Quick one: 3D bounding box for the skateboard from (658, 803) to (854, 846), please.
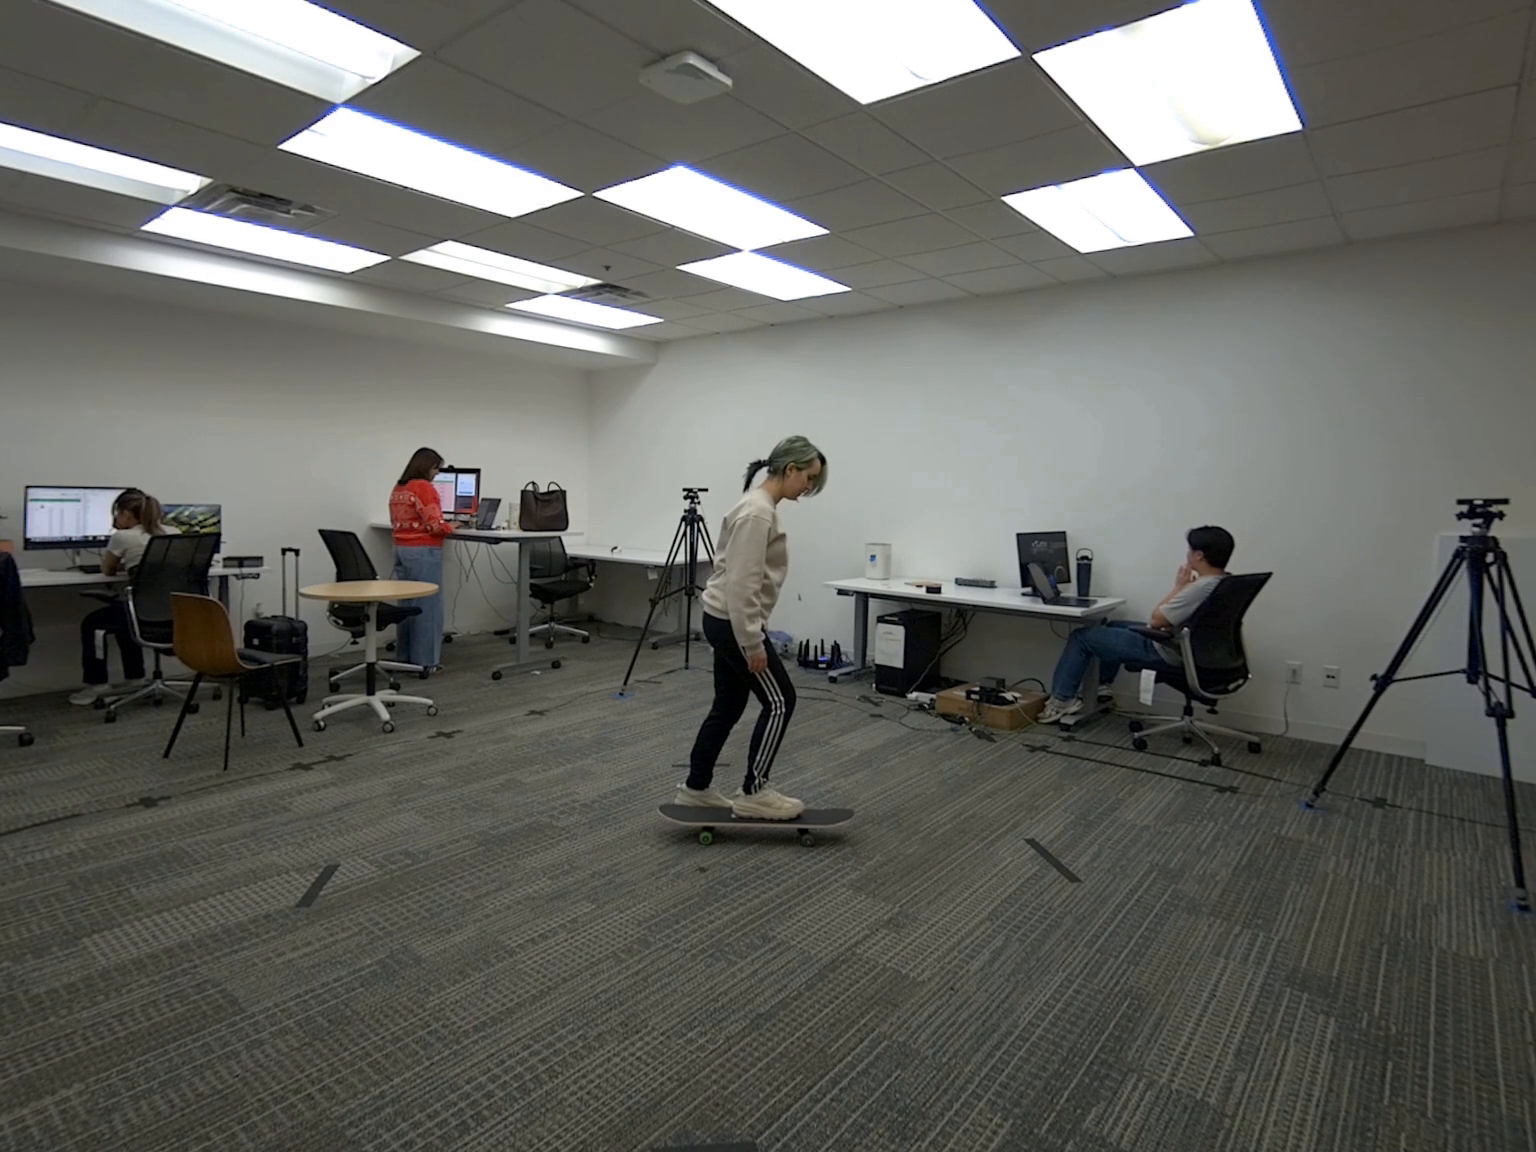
[{"bbox_3d":[-0.064,0.989,3.405,0.785,0.110,0.194,1,4,-1],"label":"skateboard"}]
